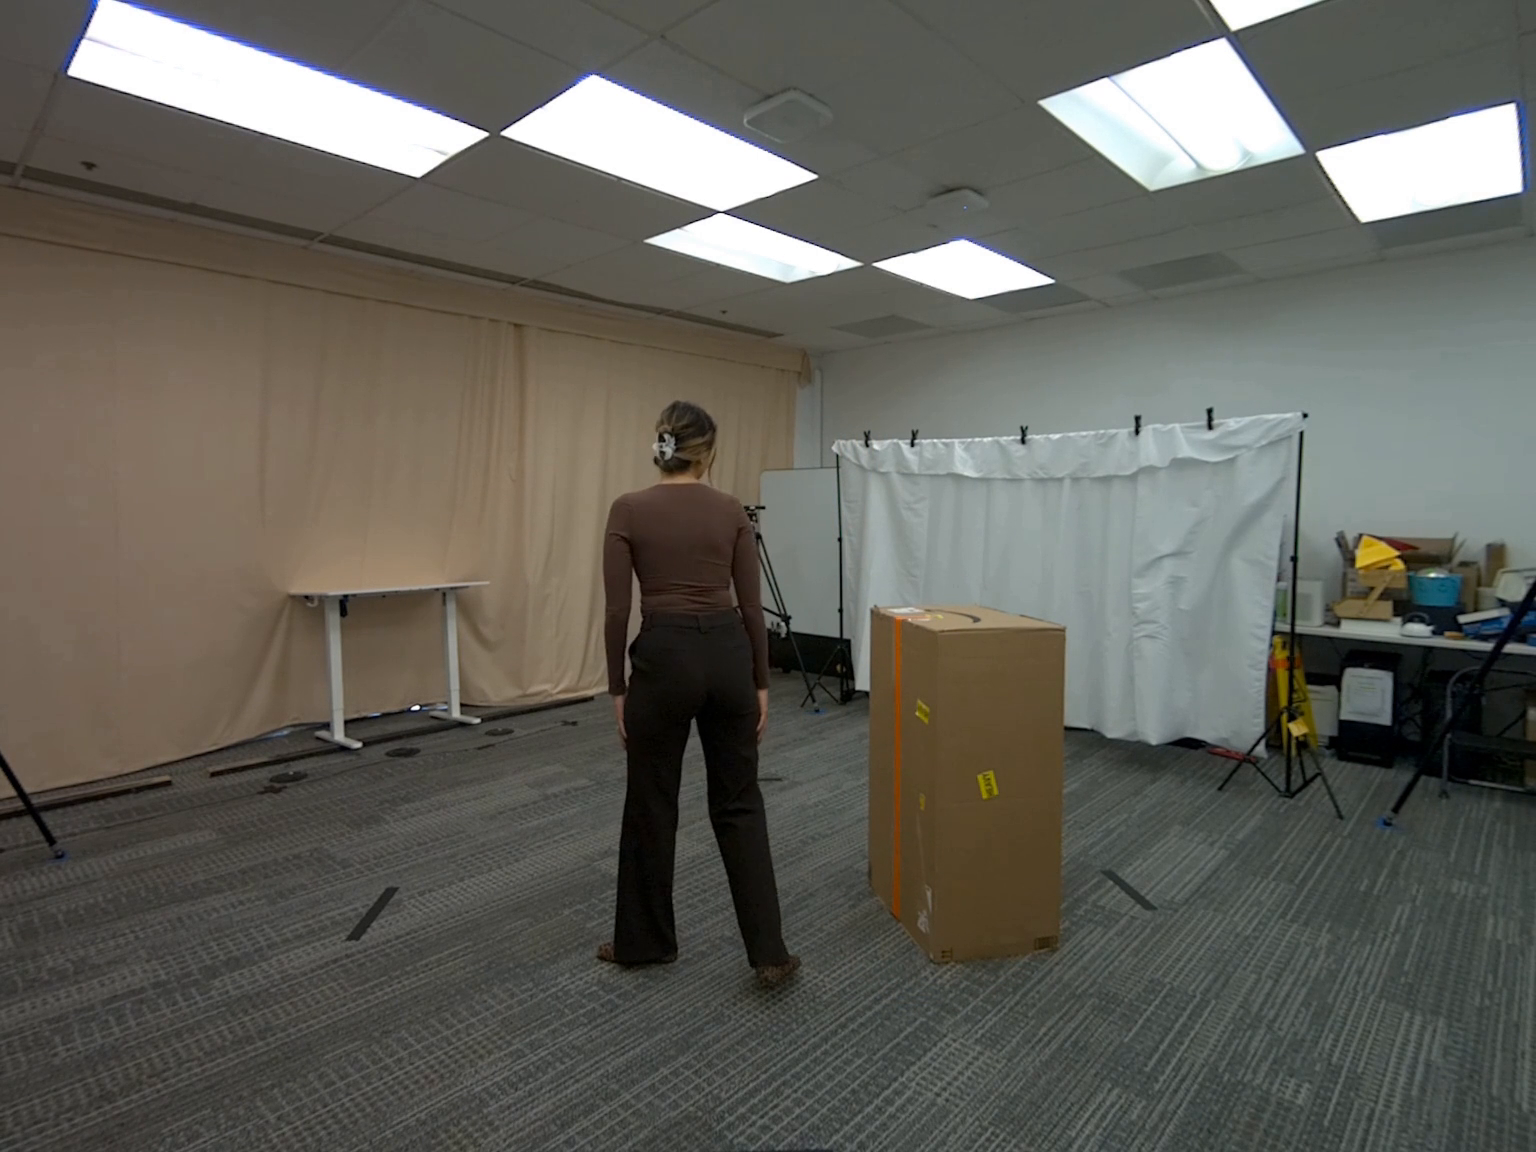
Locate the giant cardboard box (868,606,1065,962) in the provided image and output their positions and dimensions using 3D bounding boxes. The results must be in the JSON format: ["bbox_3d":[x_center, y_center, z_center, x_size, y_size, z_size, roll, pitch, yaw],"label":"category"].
[{"bbox_3d":[0.647,0.639,2.846,0.442,1.025,0.592,-1,3,-12],"label":"giant cardboard box"}]
